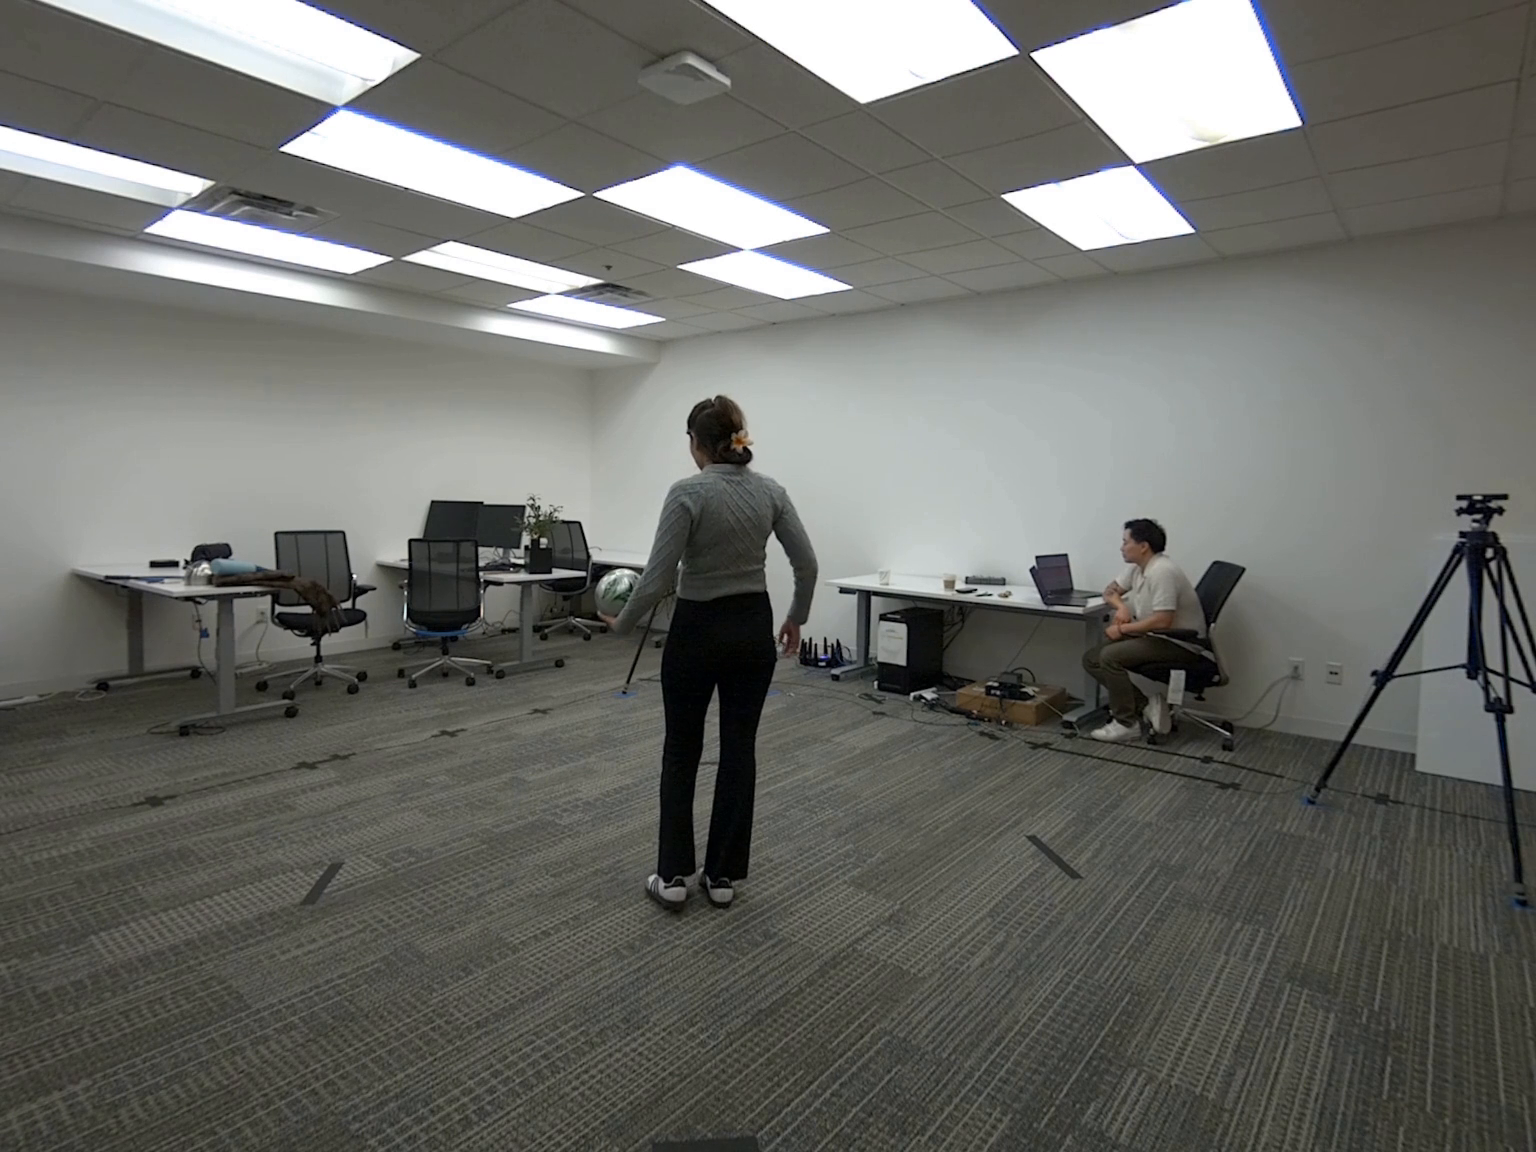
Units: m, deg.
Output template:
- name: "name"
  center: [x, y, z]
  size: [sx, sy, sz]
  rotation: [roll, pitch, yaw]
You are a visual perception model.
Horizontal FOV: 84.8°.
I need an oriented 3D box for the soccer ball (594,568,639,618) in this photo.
- name: "soccer ball"
  center: [-0.502, 0.062, 2.964]
  size: [0.187, 0.187, 0.188]
  rotation: [0, 4, -2]
